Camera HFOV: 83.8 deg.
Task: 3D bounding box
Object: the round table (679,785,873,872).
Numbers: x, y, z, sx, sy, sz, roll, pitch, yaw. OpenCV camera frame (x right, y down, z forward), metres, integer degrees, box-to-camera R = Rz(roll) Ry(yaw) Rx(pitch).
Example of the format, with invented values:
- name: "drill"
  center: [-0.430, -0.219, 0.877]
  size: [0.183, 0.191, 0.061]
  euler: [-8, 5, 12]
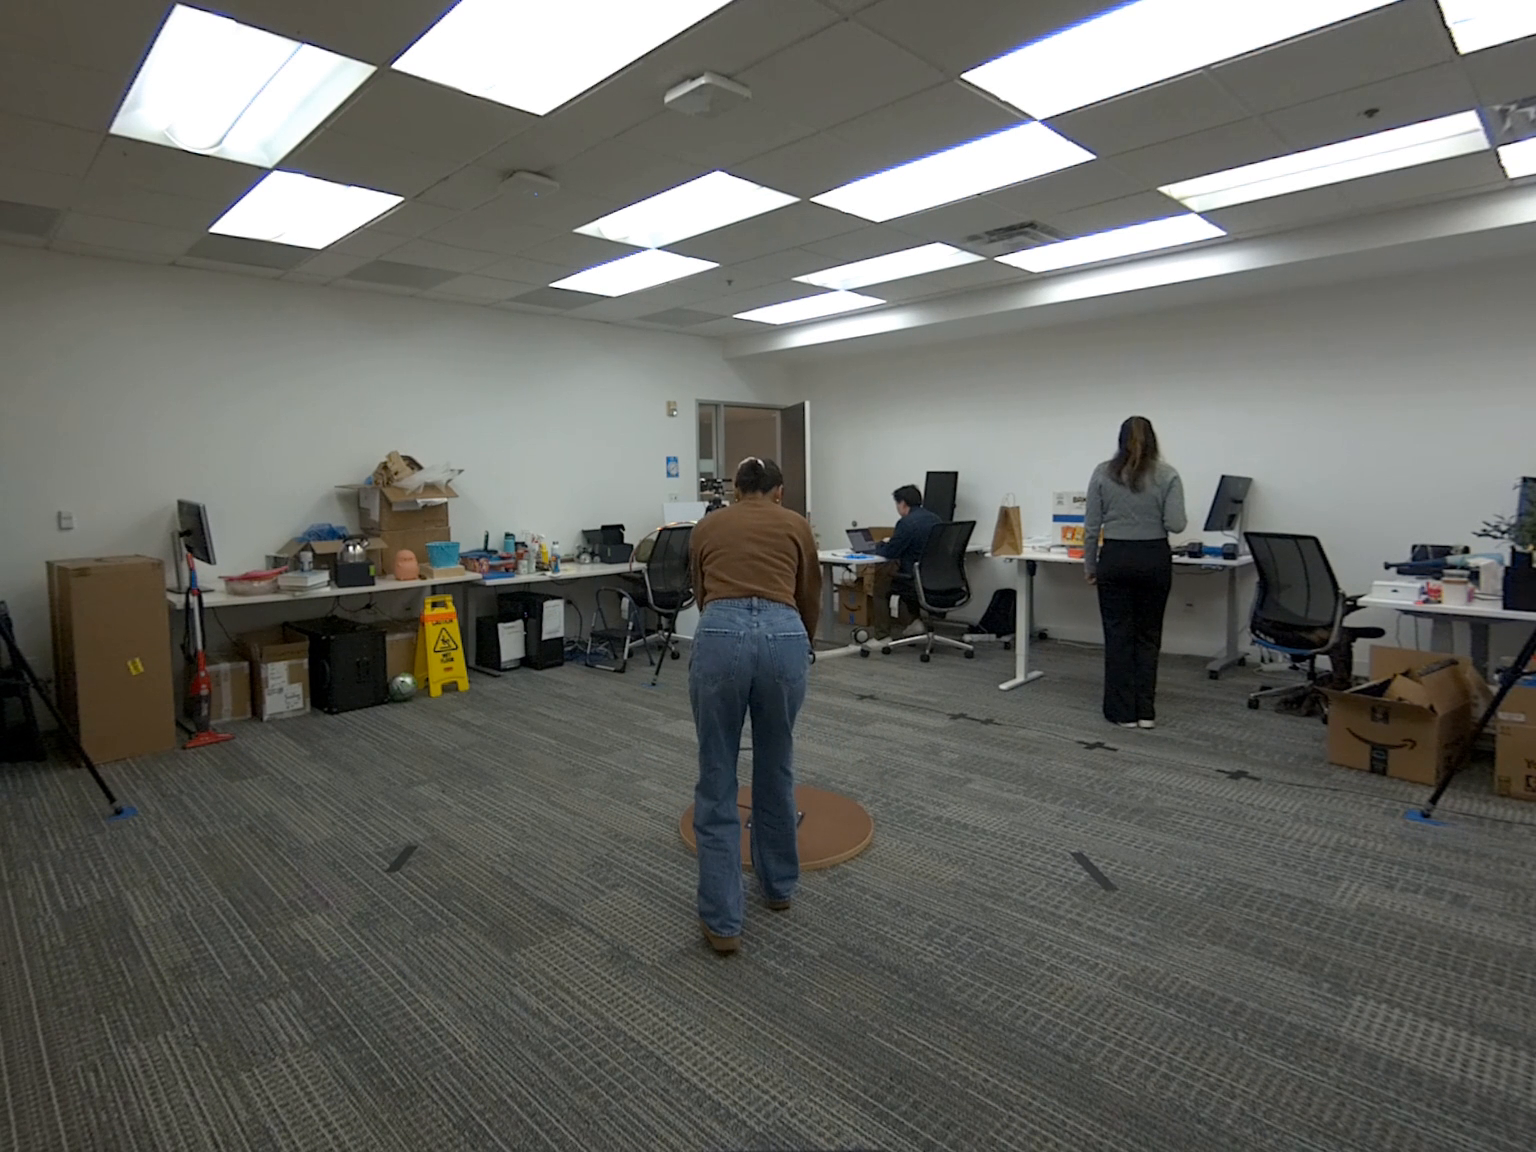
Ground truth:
- name: "round table"
  center: [0.024, 0.609, 3.385]
  size: [0.763, 0.790, 0.769]
  euler: [-1, 6, -2]
